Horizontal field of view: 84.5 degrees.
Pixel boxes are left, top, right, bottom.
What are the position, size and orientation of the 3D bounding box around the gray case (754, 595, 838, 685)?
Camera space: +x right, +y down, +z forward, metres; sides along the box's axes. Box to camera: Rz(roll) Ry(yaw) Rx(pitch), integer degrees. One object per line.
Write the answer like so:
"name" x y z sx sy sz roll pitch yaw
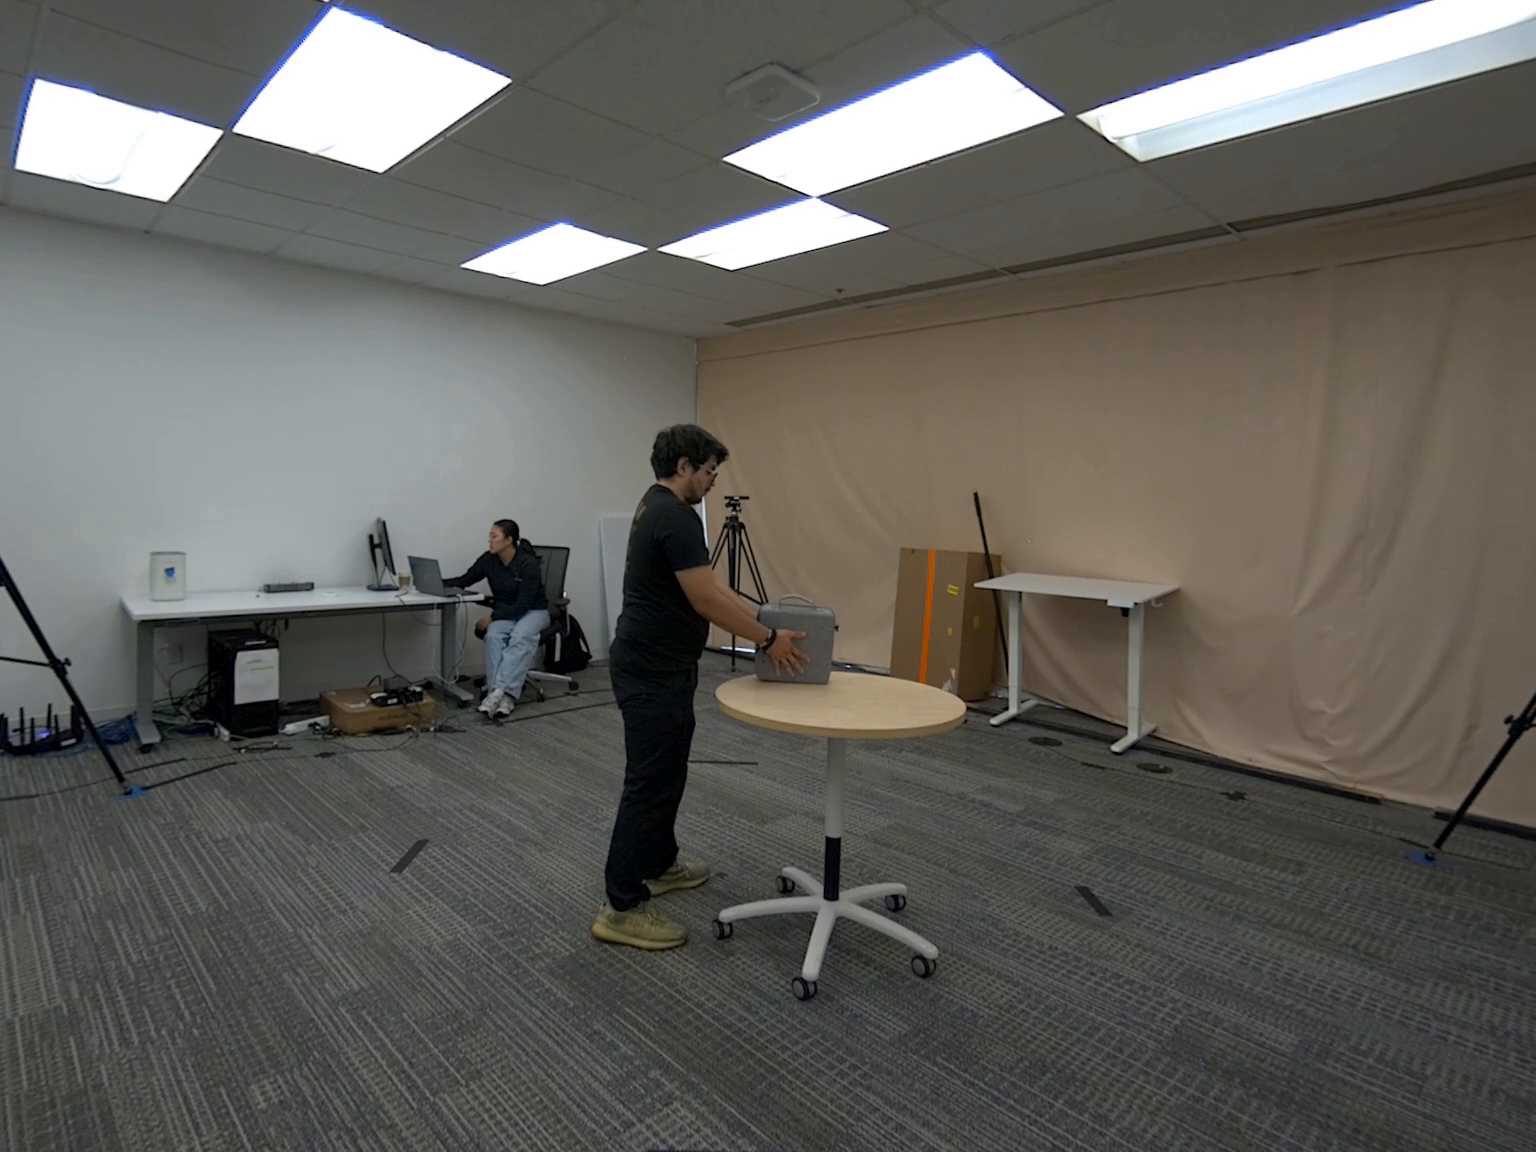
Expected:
"gray case" 0.087 0.222 2.794 0.257 0.259 0.105 3 9 0
